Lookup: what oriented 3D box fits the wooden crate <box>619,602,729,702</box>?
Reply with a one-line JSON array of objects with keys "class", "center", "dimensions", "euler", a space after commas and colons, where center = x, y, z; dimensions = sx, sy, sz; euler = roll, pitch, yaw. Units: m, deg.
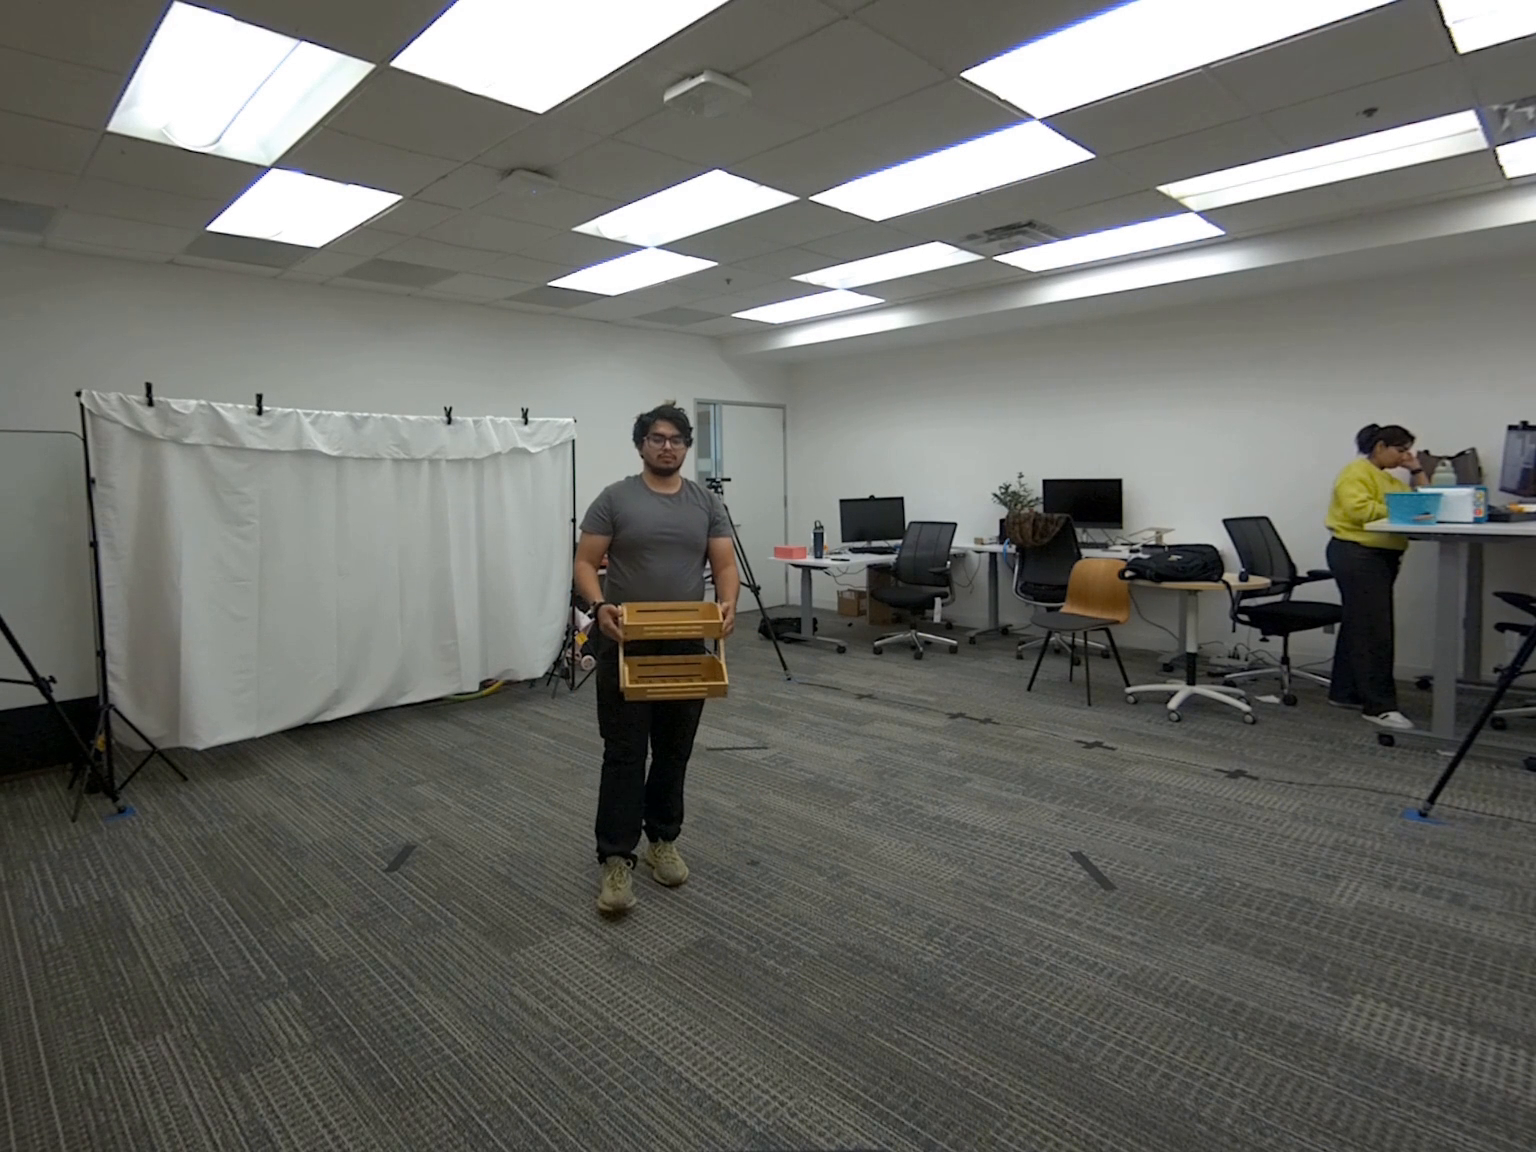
[{"class": "wooden crate", "center": [-0.303, 0.224, 2.630], "dimensions": [0.321, 0.273, 0.305], "euler": [-1, 2, -11]}]
